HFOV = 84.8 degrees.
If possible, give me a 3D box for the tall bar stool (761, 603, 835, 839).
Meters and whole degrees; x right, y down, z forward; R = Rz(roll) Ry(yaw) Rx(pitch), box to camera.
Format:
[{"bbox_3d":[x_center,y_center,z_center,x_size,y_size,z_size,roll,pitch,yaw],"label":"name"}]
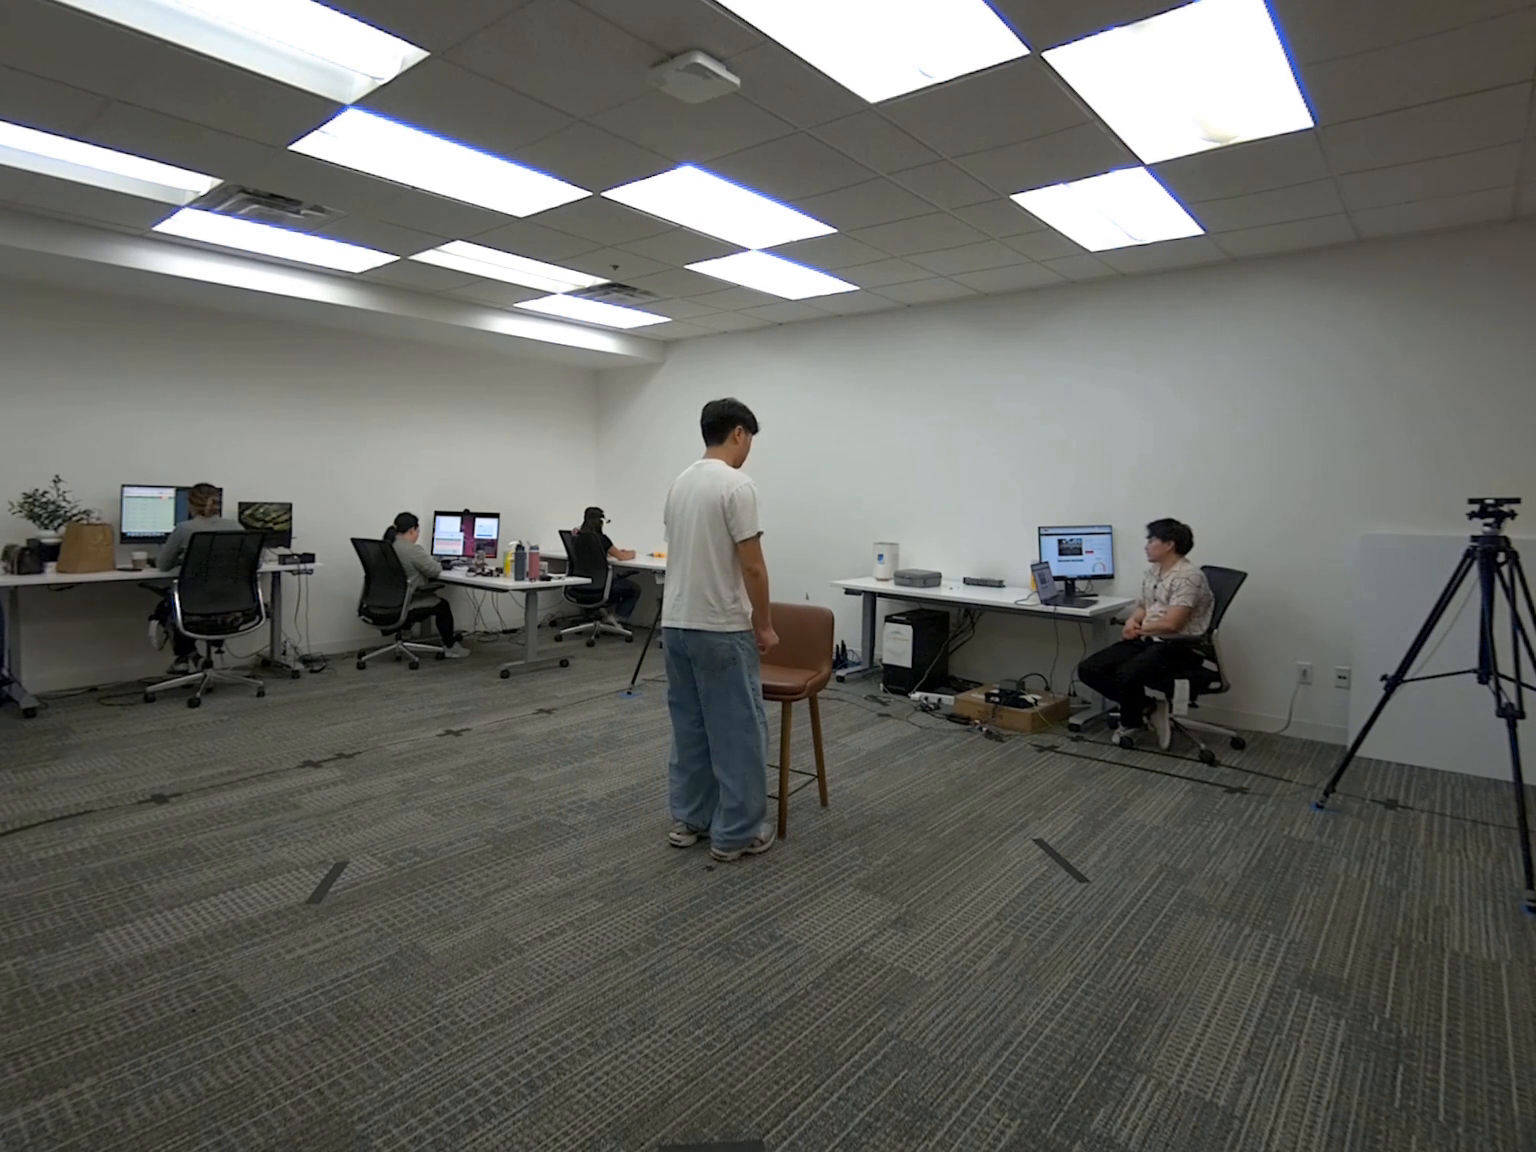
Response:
[{"bbox_3d":[-0.003,0.575,3.654,0.470,0.889,0.454,4,1,32],"label":"tall bar stool"}]
